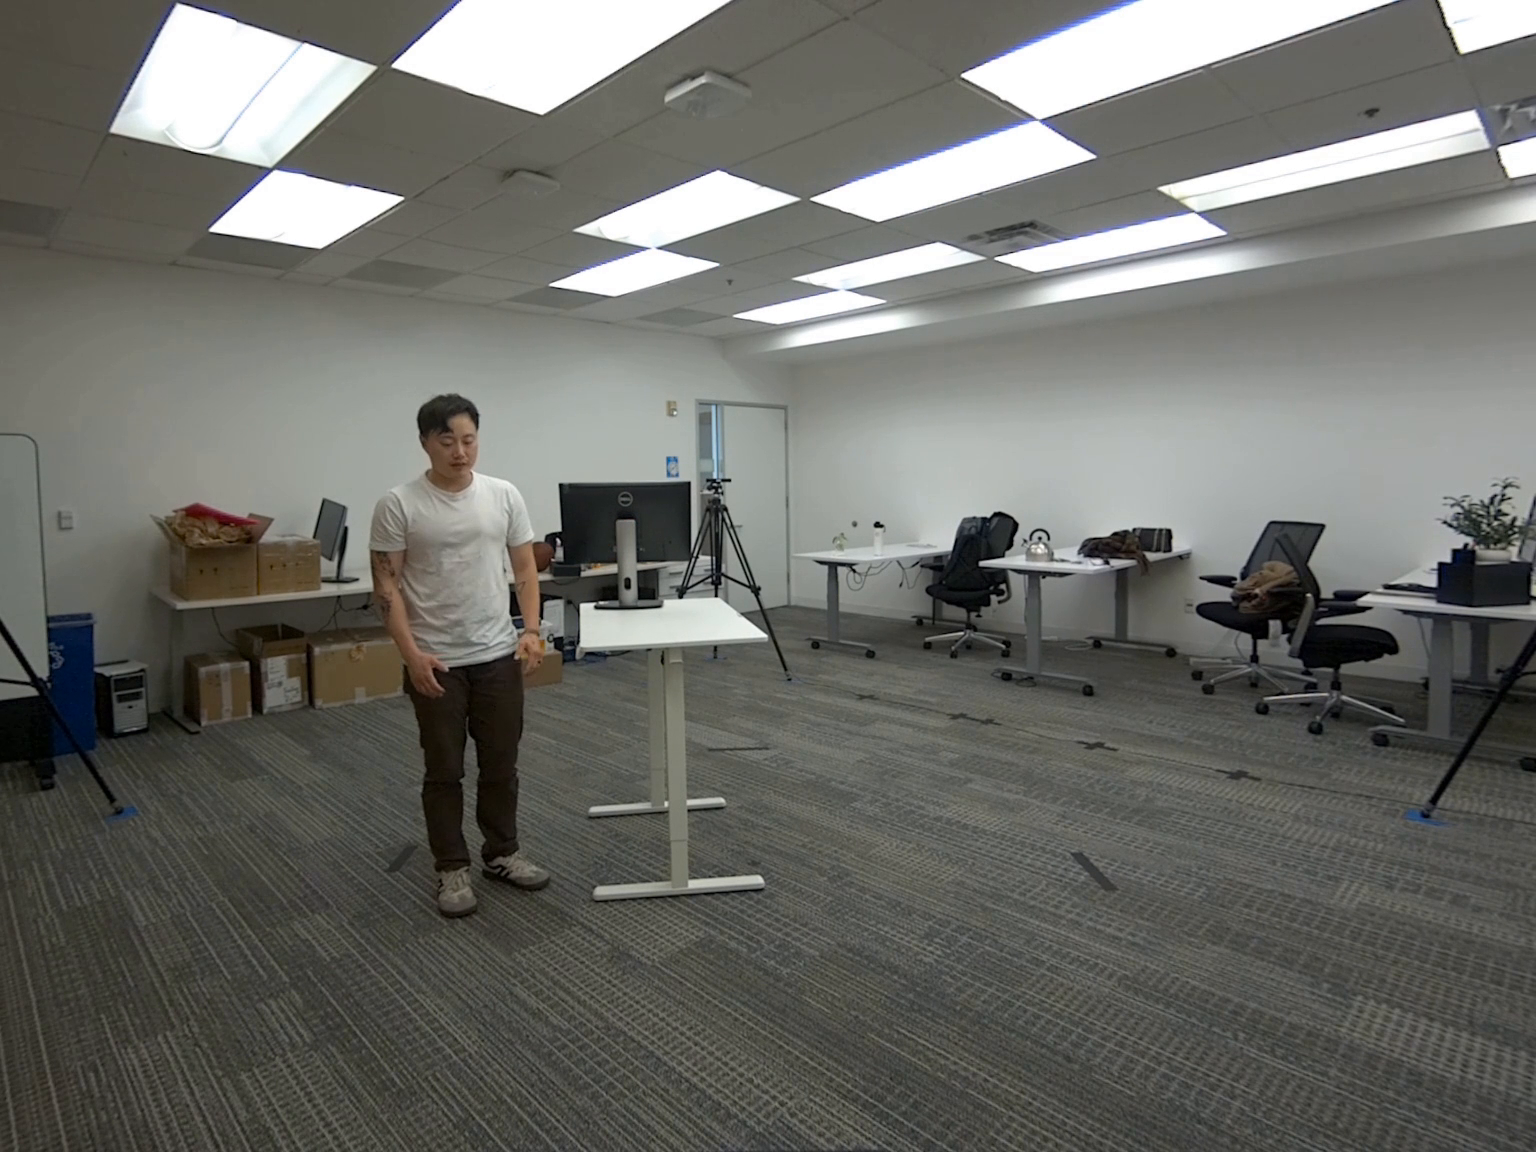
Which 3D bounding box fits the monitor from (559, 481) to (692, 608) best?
[{"bbox_3d":[-0.579,-0.125,3.503,0.536,0.519,0.189,-1,7,-5],"label":"monitor"}]
